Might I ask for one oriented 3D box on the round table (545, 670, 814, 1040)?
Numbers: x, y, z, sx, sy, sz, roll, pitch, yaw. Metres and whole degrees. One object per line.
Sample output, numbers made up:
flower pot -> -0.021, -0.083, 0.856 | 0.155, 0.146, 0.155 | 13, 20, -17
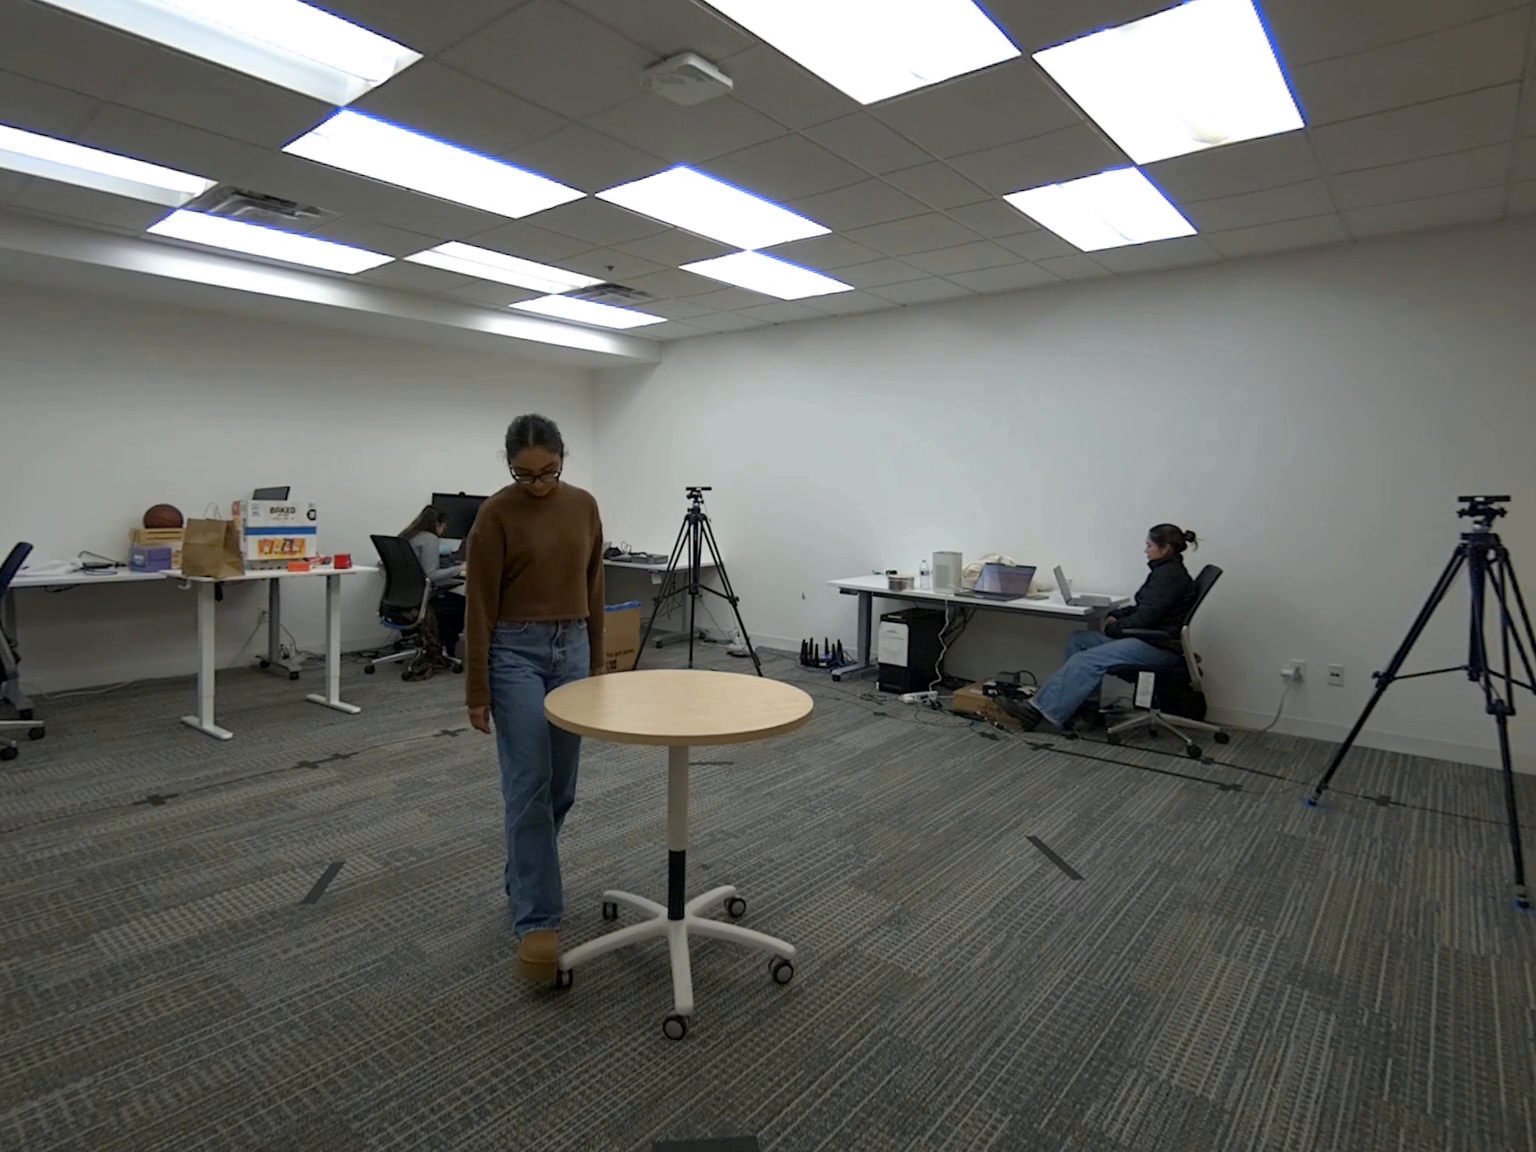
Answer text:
round table -> -0.267, 0.742, 2.462 | 0.763, 0.791, 0.768 | 1, 4, -2
